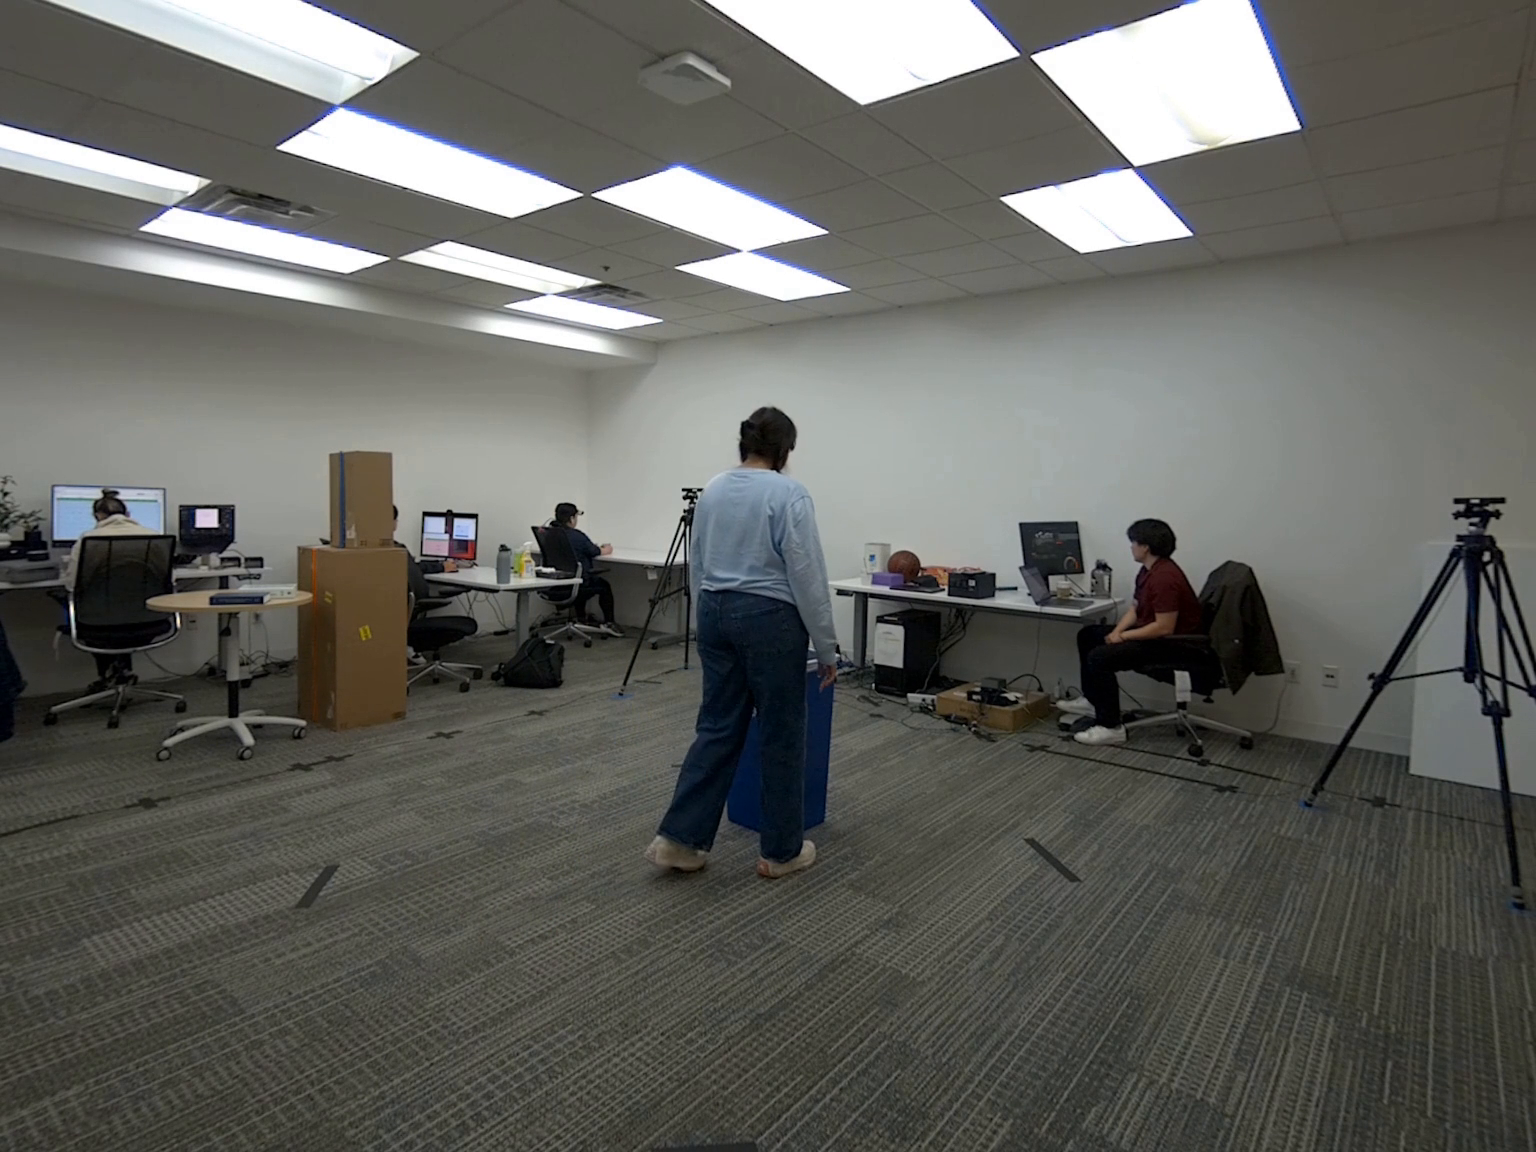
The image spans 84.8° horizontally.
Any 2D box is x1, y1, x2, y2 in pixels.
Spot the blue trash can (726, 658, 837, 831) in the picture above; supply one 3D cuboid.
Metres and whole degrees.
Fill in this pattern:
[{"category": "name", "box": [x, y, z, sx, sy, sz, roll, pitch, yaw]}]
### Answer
[{"category": "blue trash can", "box": [0.045, 0.672, 3.565, 0.387, 0.712, 0.366, 4, 4, 41]}]
